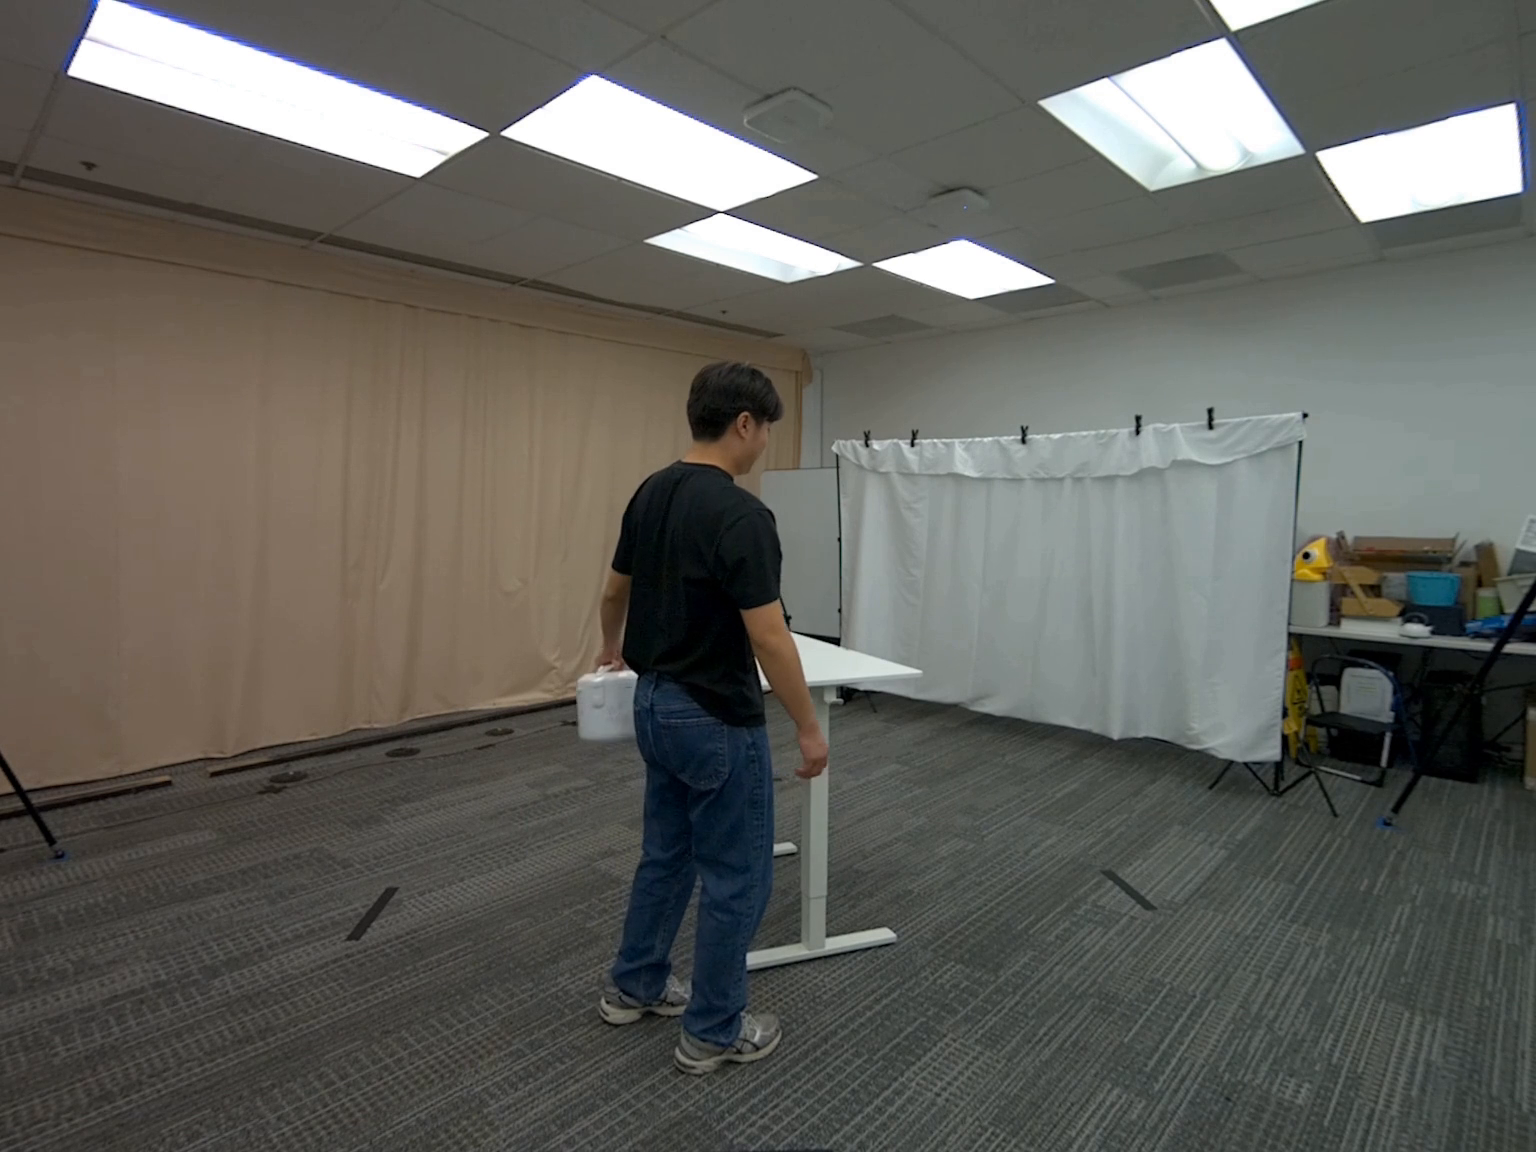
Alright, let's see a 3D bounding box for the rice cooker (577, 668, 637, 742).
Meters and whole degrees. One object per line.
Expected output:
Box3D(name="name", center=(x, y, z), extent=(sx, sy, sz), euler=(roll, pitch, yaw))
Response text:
Box3D(name="rice cooker", center=(-0.452, 0.367, 2.502), extent=(0.221, 0.234, 0.216), euler=(-6, -5, 17))
